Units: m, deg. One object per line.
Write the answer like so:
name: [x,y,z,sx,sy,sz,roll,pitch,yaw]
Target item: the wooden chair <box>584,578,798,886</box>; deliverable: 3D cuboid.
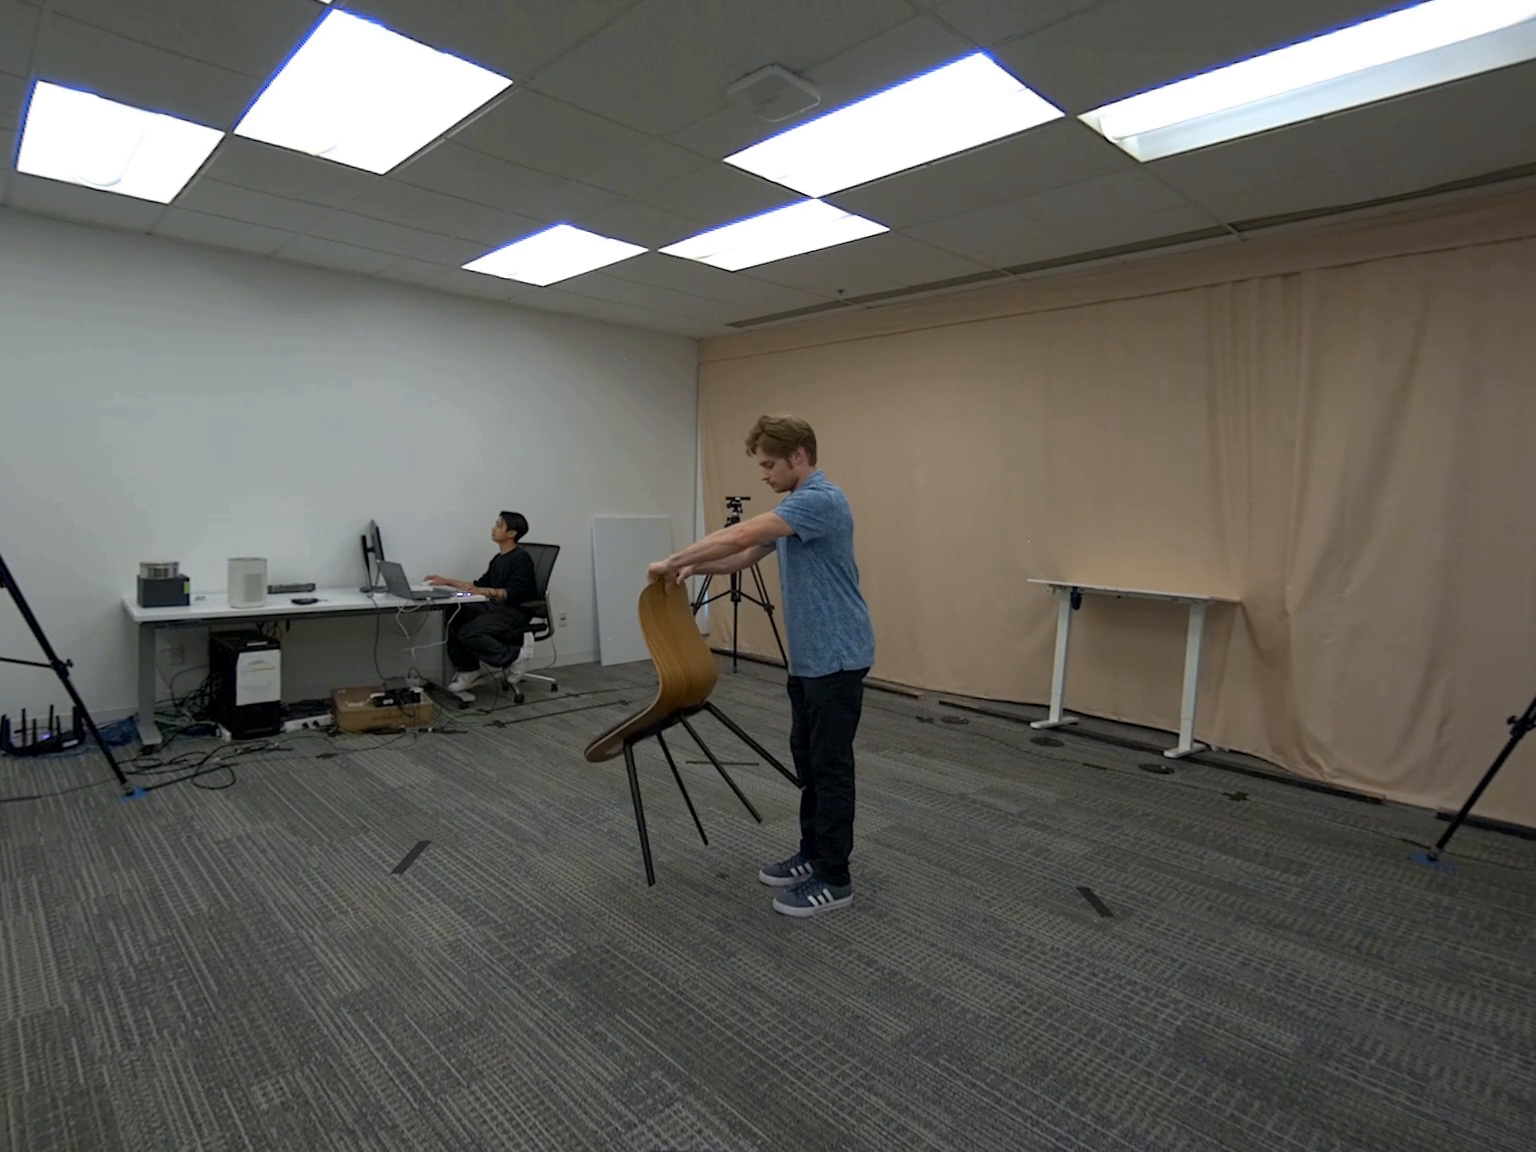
wooden chair: [-0.361,0.516,2.901,0.526,0.887,0.470,-31,-11,18]
